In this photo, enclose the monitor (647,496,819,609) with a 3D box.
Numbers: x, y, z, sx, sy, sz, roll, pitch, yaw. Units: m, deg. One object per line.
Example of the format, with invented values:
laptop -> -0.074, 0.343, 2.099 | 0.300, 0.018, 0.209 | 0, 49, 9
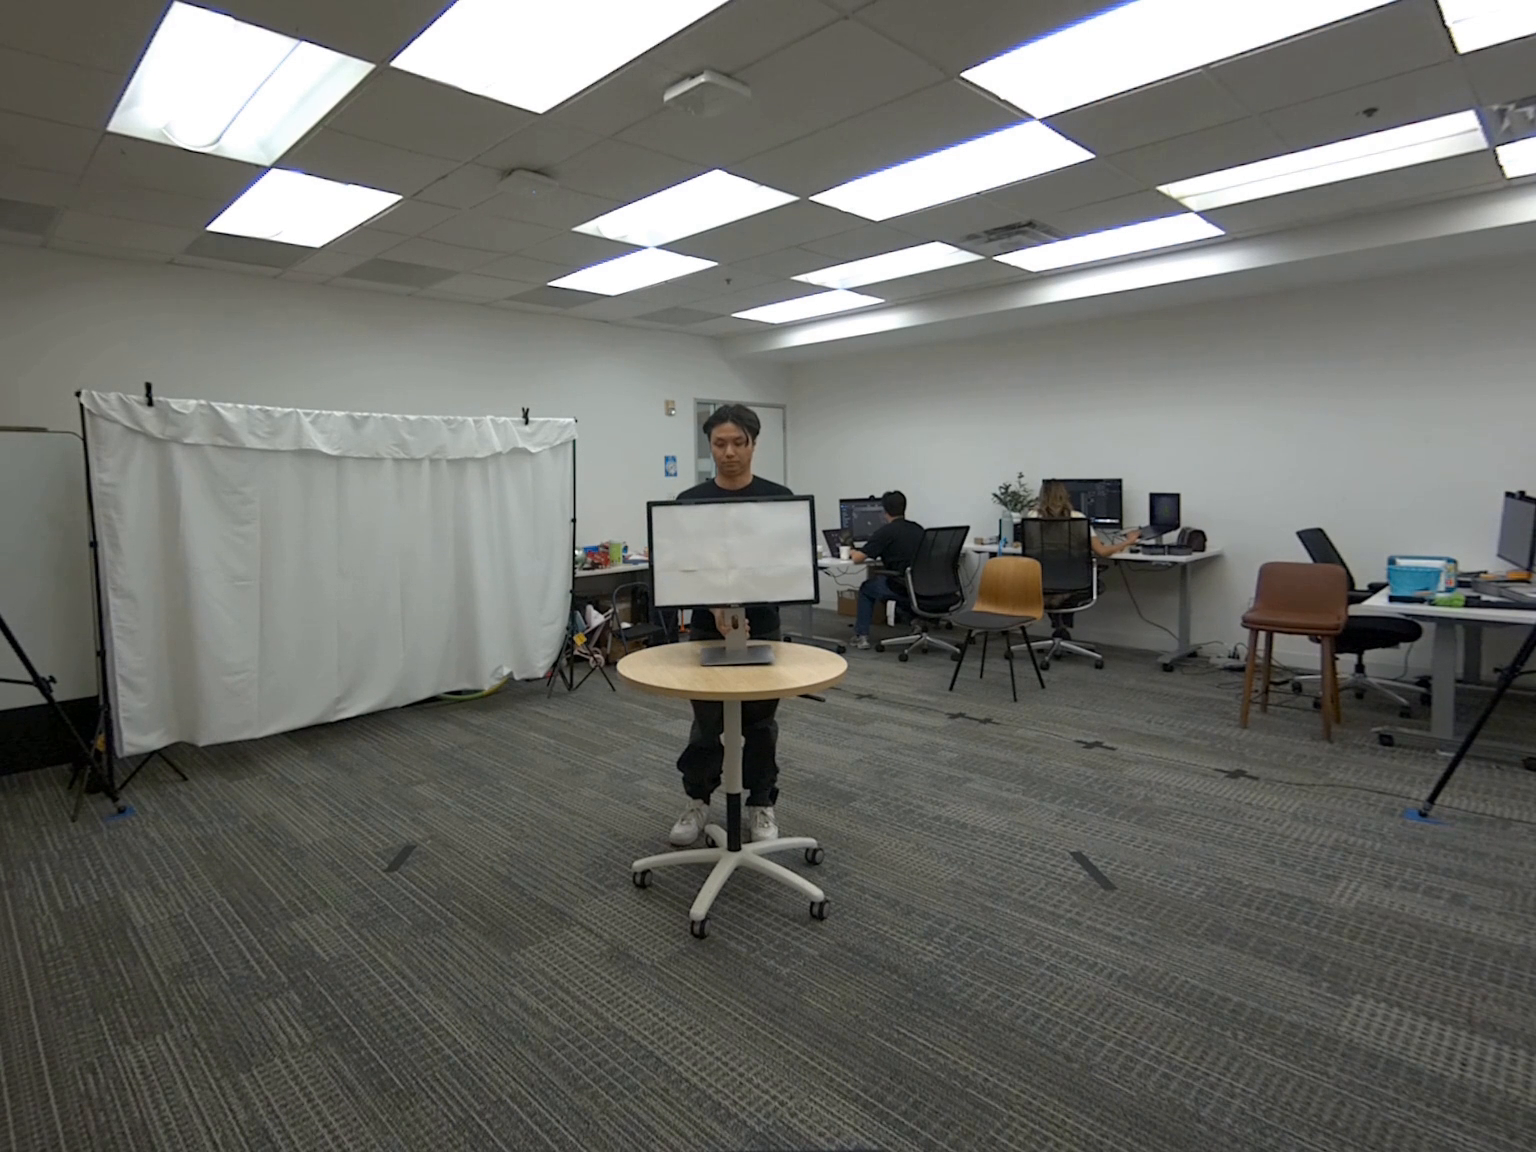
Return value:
monitor -> -0.128, 0.021, 2.877 | 0.538, 0.519, 0.188 | -5, 6, -2
